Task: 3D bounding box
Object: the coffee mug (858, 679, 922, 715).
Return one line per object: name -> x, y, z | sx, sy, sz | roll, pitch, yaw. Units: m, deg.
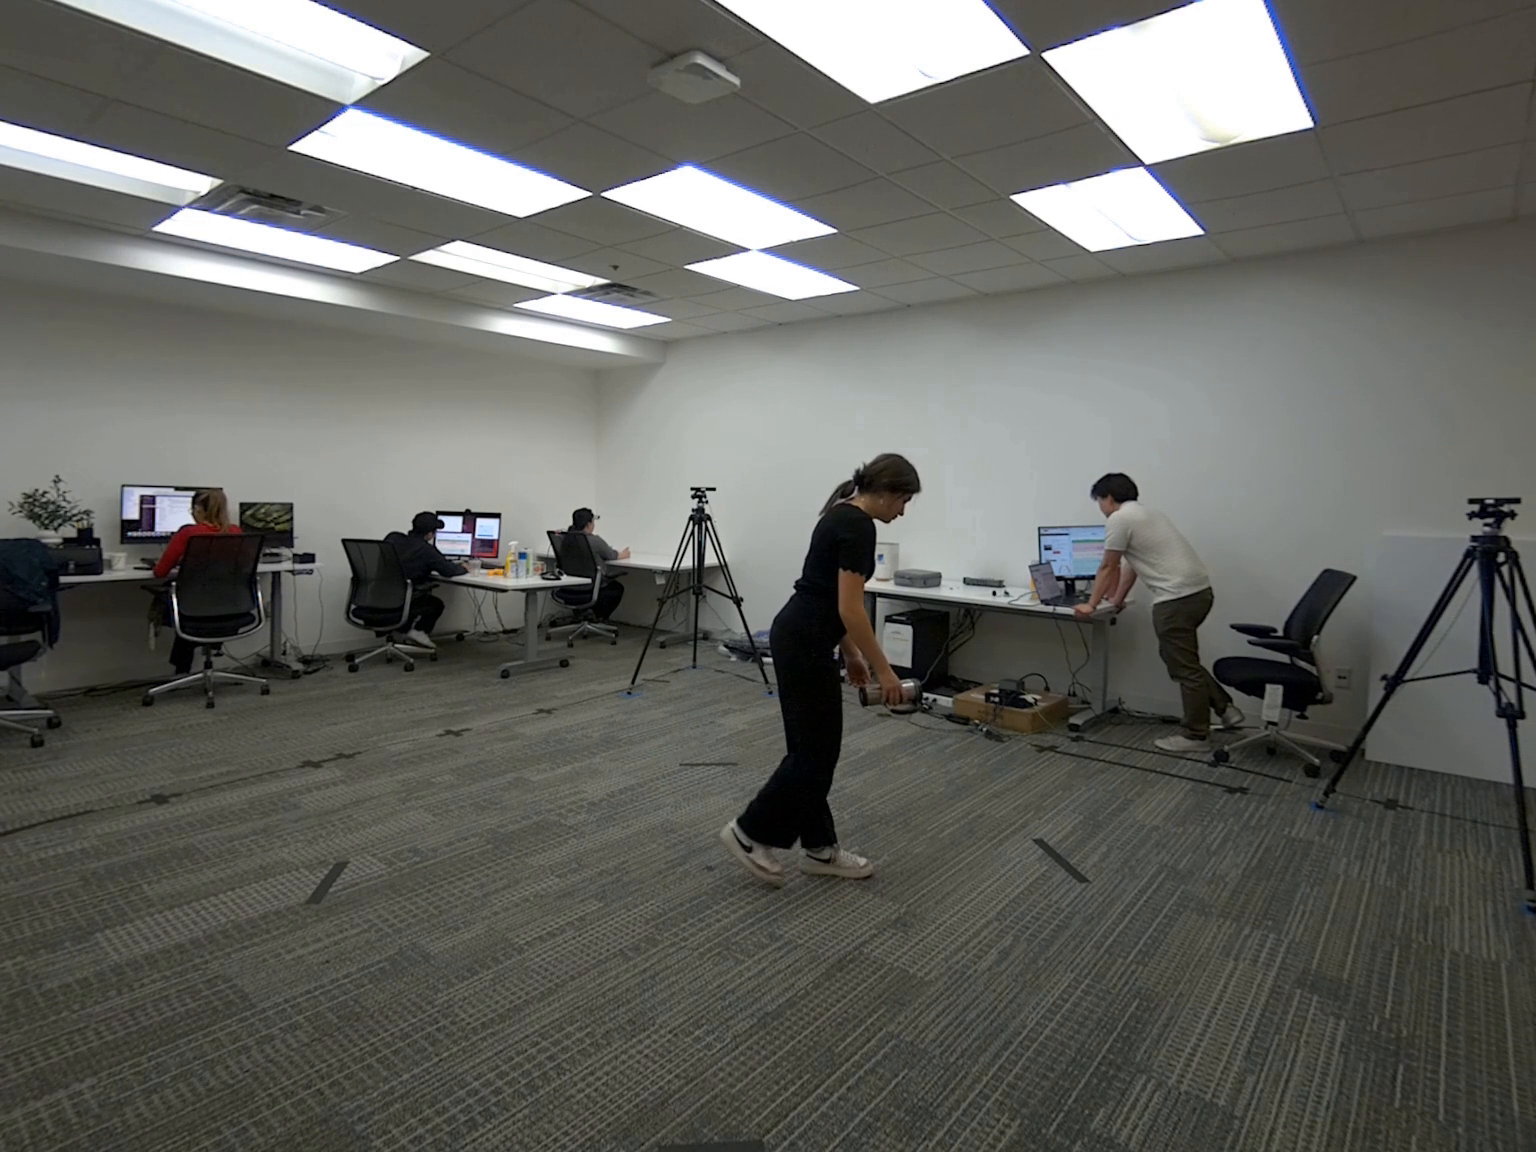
coffee mug -> 0.418, 0.406, 2.913 | 0.200, 0.086, 0.126 | -1, 21, -13
